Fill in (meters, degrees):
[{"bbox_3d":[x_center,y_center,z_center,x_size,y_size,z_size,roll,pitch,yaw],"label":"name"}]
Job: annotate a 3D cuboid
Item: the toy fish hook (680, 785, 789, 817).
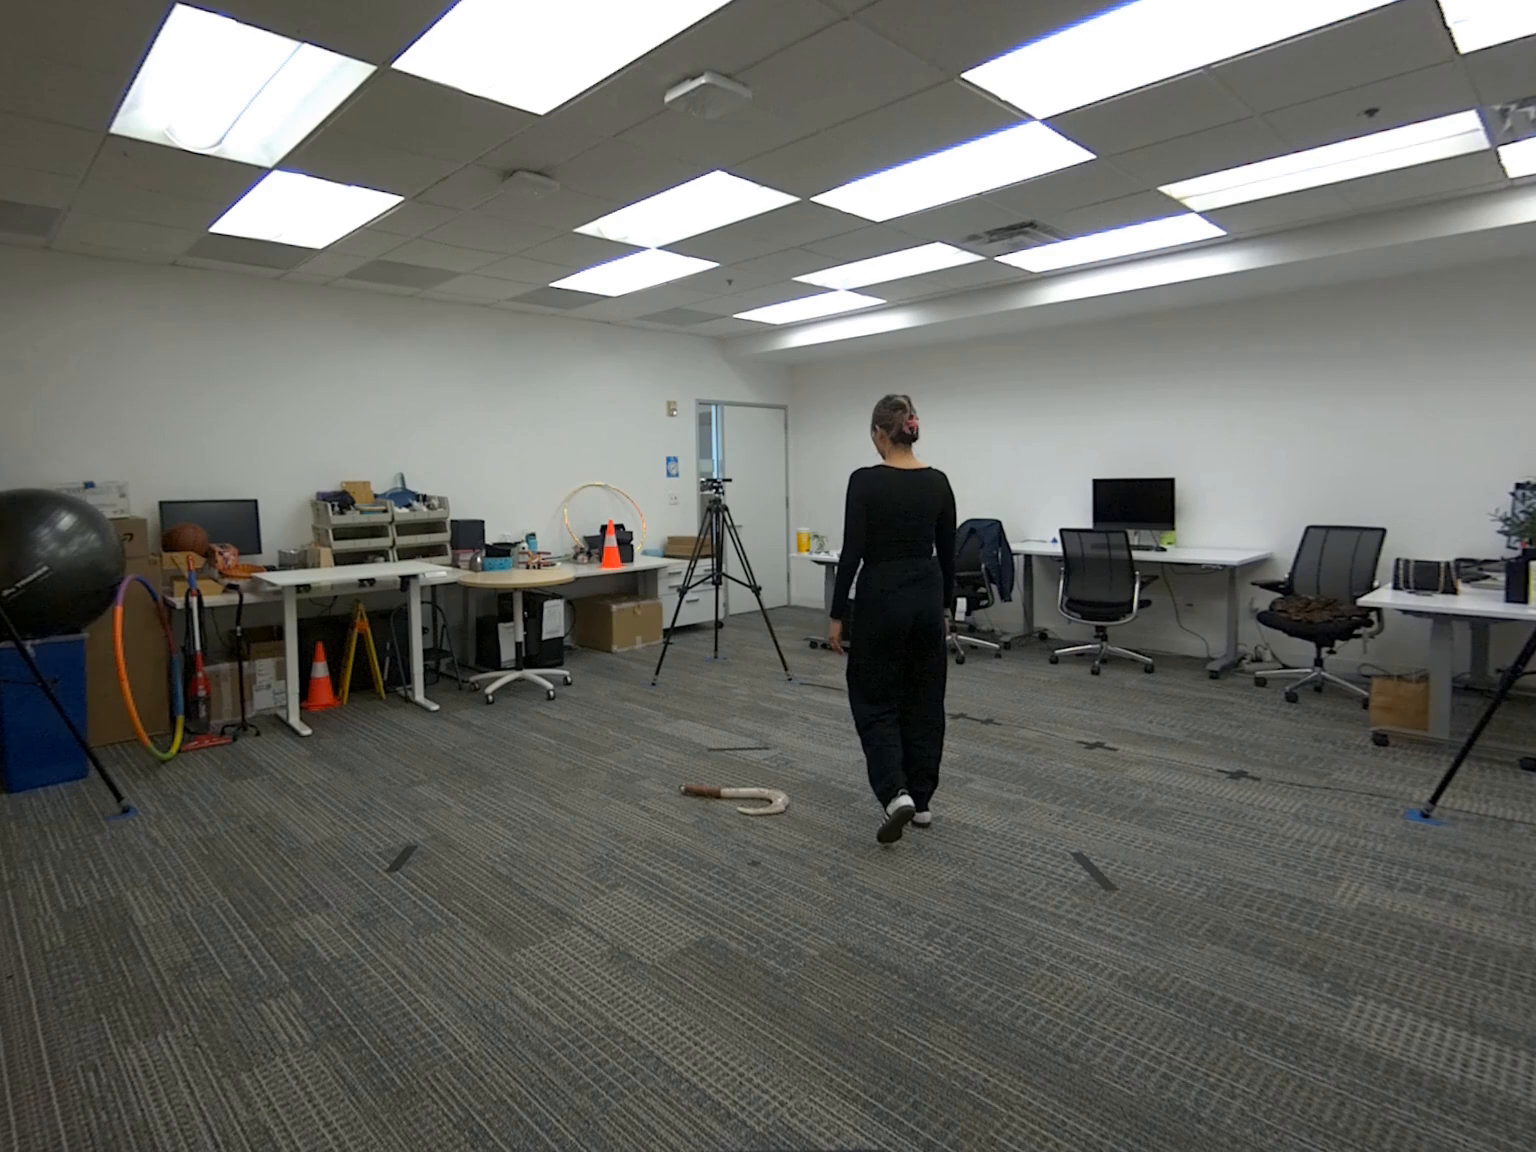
[{"bbox_3d":[-0.161,0.959,3.690,0.515,0.048,0.221,1,6,18],"label":"toy fish hook"}]
